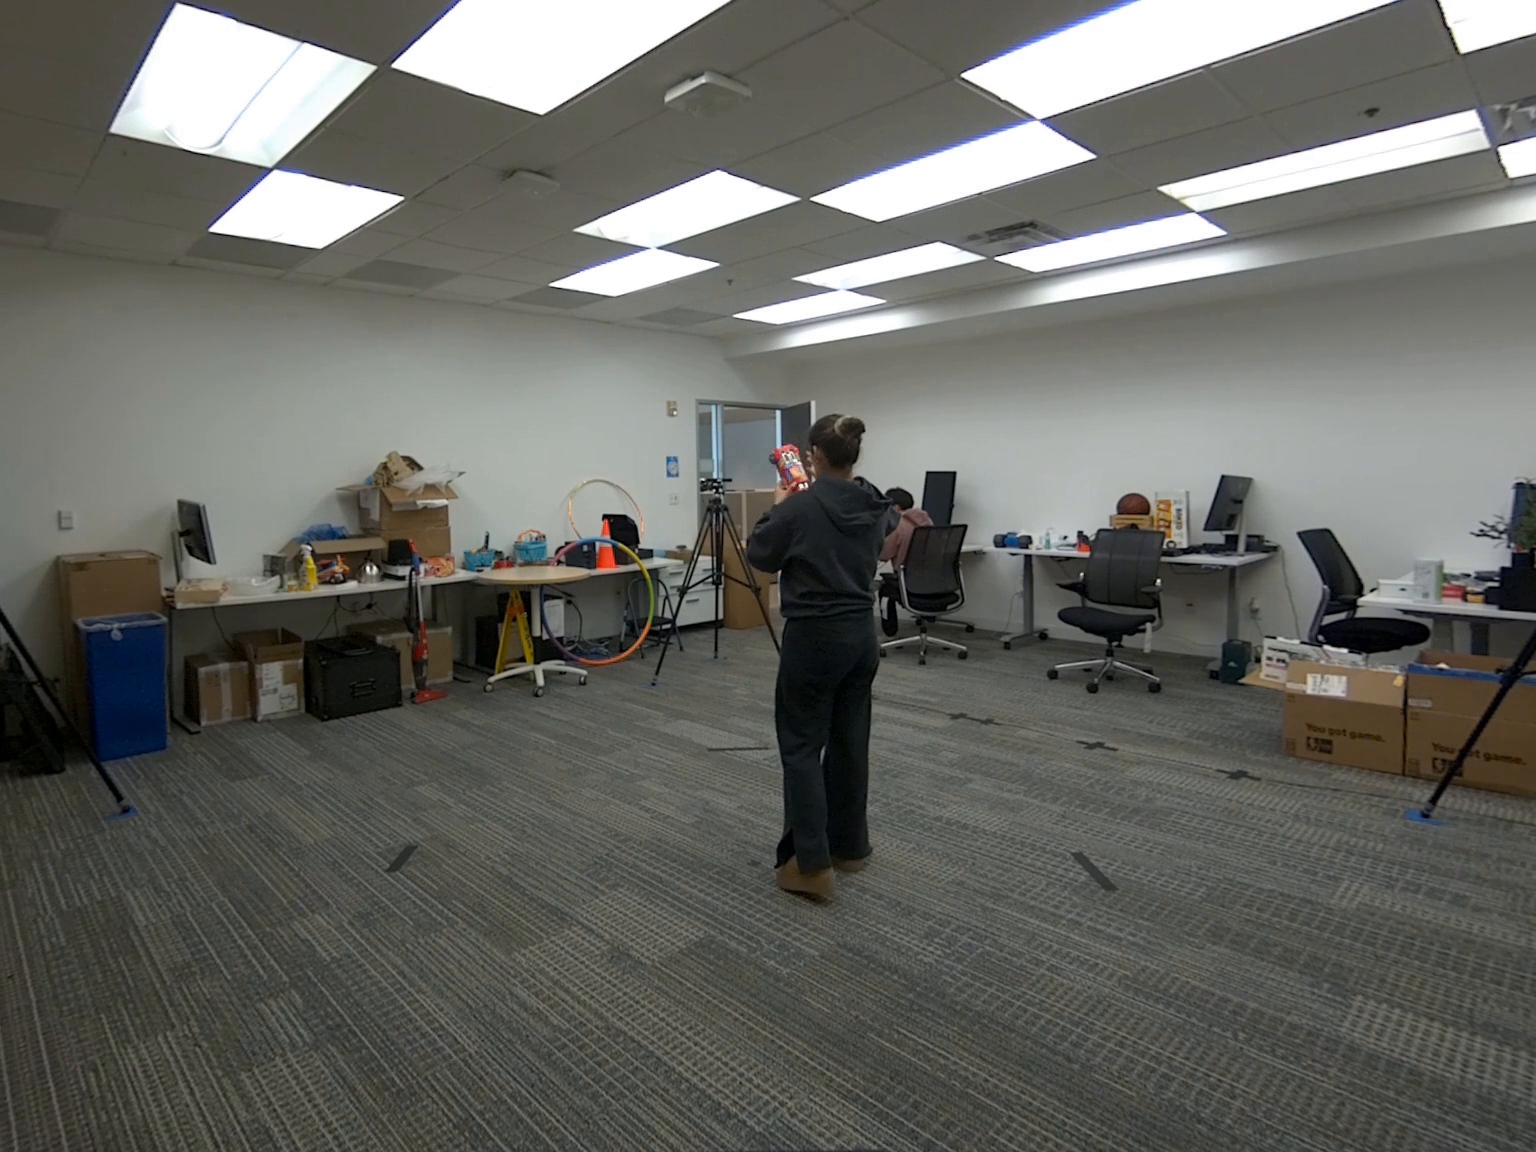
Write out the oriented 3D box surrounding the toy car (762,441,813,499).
[{"bbox_3d":[0.103,-0.364,3.209,0.128,0.259,0.083,-17,-18,-32],"label":"toy car"}]
